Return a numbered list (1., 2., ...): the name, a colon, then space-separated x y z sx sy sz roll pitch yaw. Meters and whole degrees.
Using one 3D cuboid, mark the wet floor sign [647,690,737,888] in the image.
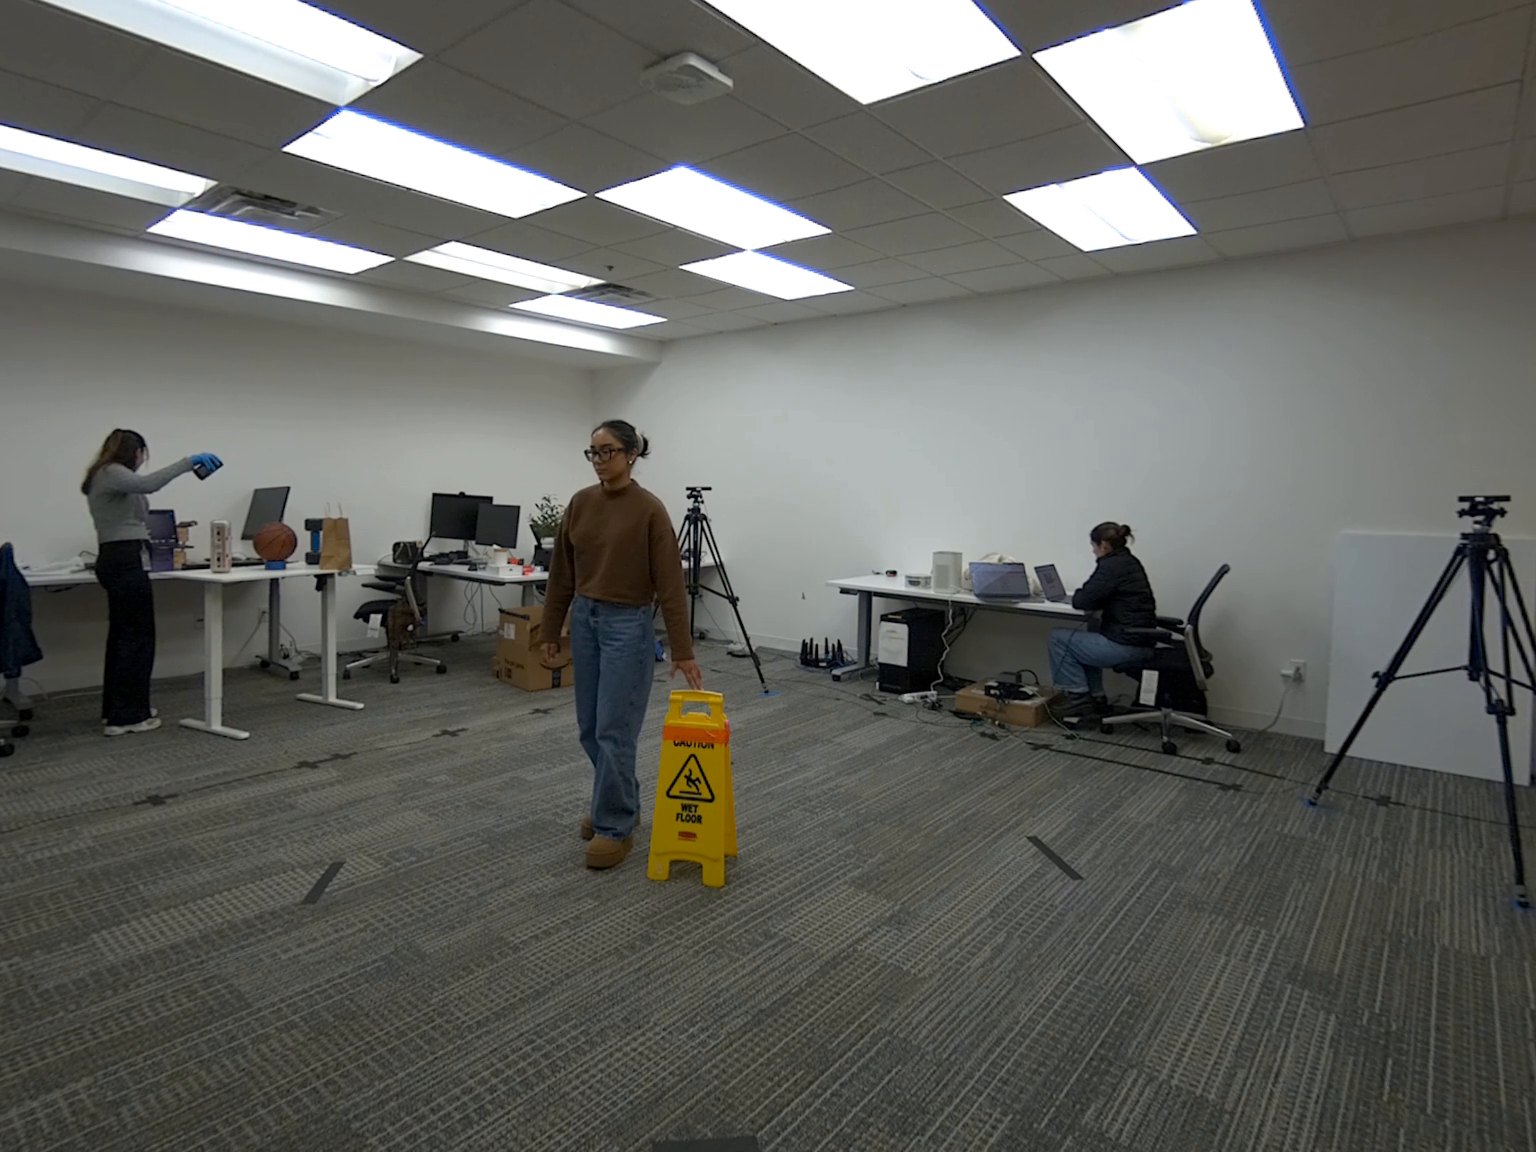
1. wet floor sign: -0.276 0.741 3.099 0.285 0.644 0.287 0 4 10
